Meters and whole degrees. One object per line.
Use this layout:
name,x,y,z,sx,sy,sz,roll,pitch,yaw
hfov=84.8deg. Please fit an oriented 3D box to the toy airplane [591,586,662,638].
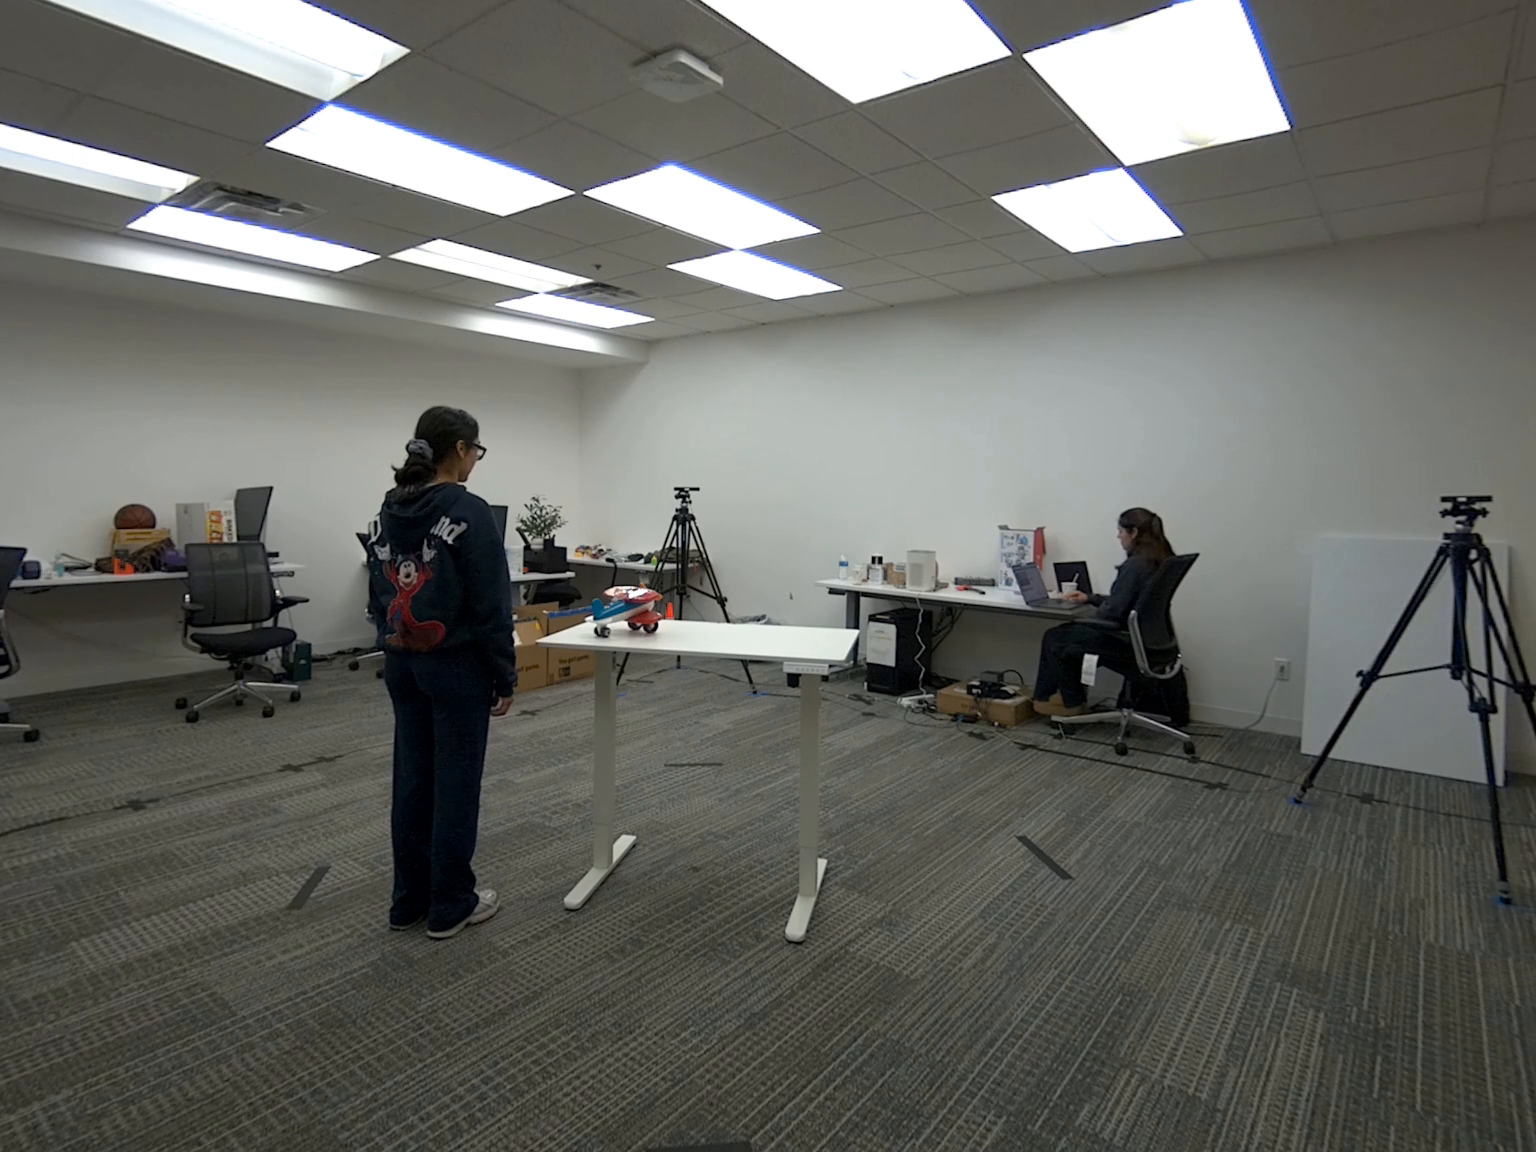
toy airplane,-0.481,0.125,2.932,0.256,0.156,0.255,3,5,16
